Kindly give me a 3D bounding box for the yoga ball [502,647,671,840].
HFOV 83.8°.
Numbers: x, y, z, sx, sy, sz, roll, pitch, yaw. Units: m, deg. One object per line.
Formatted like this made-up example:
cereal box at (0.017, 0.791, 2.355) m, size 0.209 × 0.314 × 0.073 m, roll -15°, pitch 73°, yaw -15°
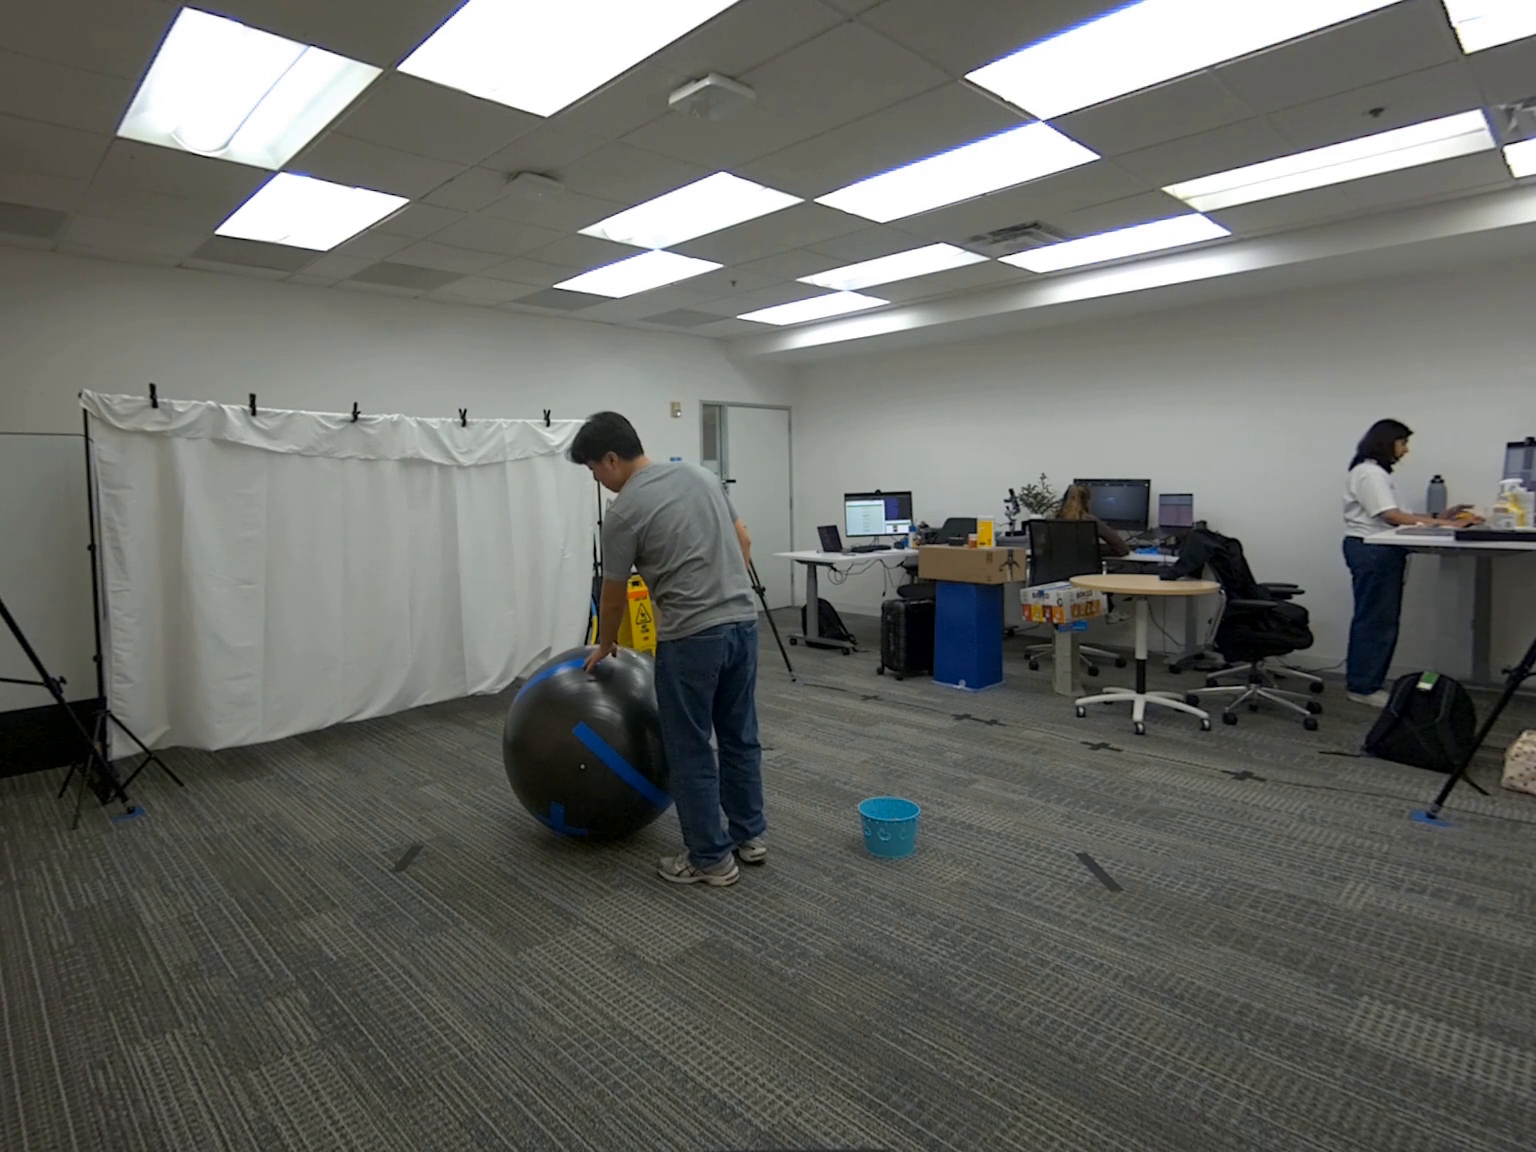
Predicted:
yoga ball at (-0.673, 0.656, 3.408) m, size 0.757 × 0.755 × 0.762 m, roll -1°, pitch 5°, yaw -2°
